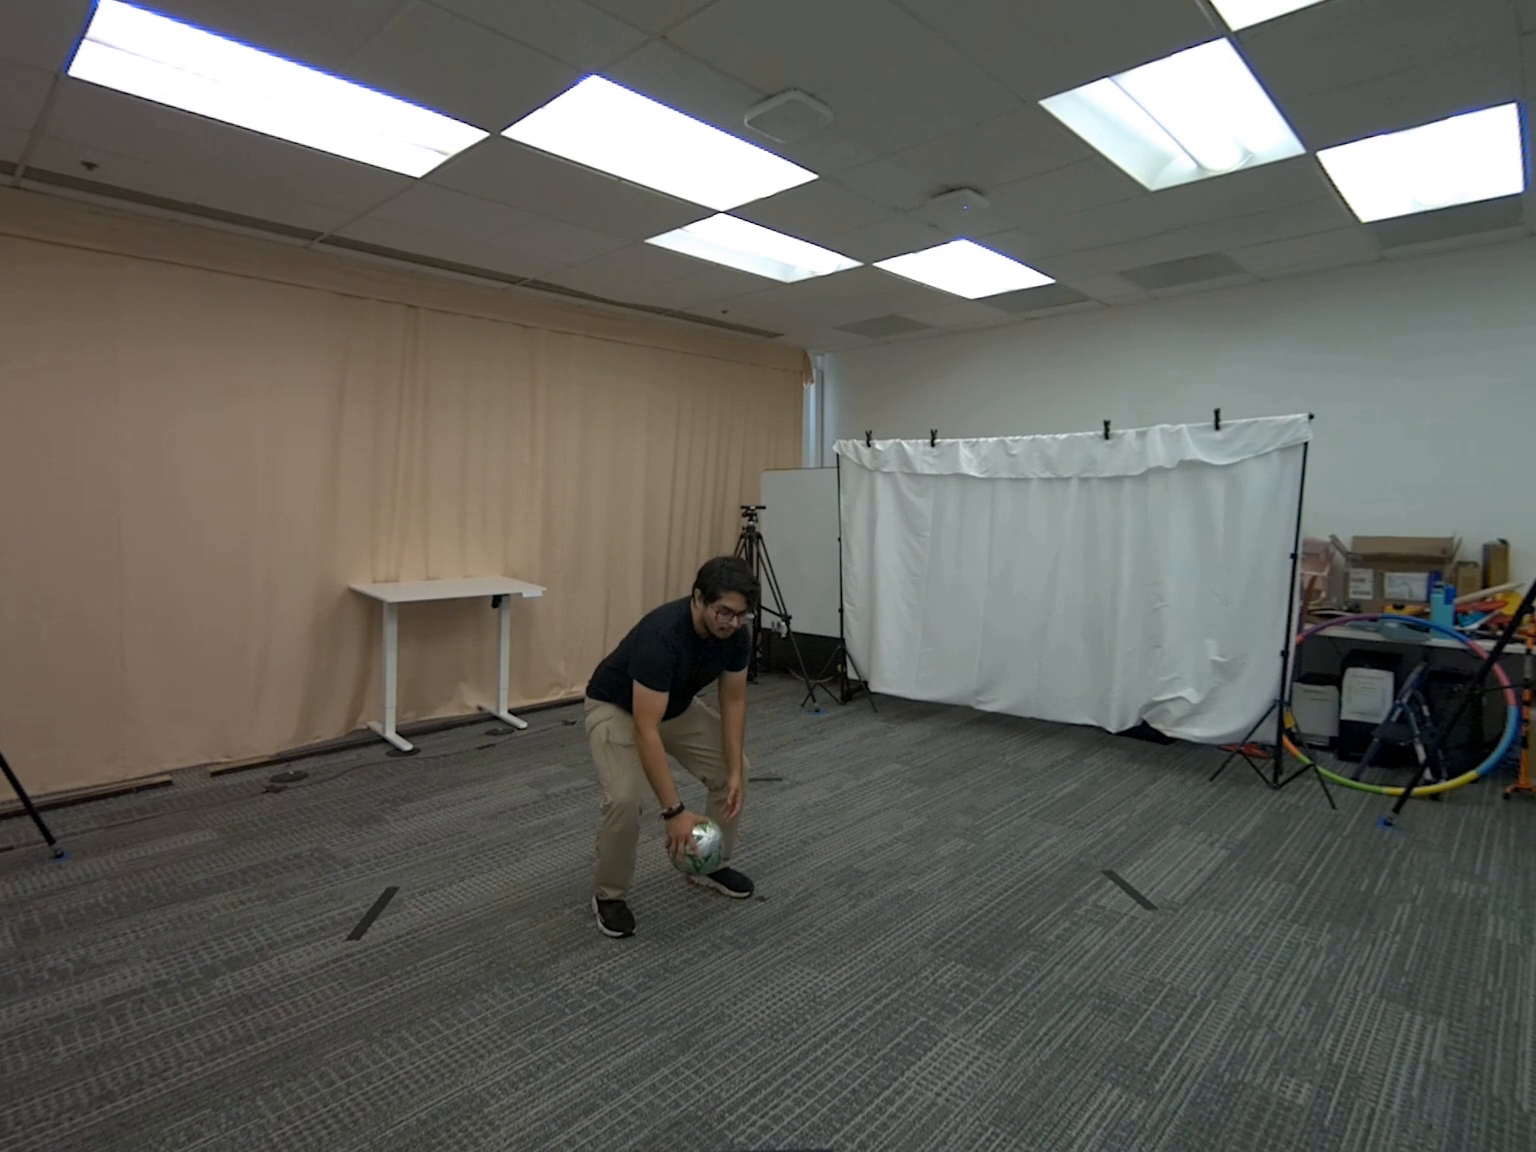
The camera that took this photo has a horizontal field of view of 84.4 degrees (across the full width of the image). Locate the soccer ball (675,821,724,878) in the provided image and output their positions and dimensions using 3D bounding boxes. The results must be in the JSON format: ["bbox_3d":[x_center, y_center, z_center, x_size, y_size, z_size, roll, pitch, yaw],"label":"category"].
[{"bbox_3d":[-0.239,0.838,2.661,0.187,0.187,0.188,0,4,-2],"label":"soccer ball"}]
